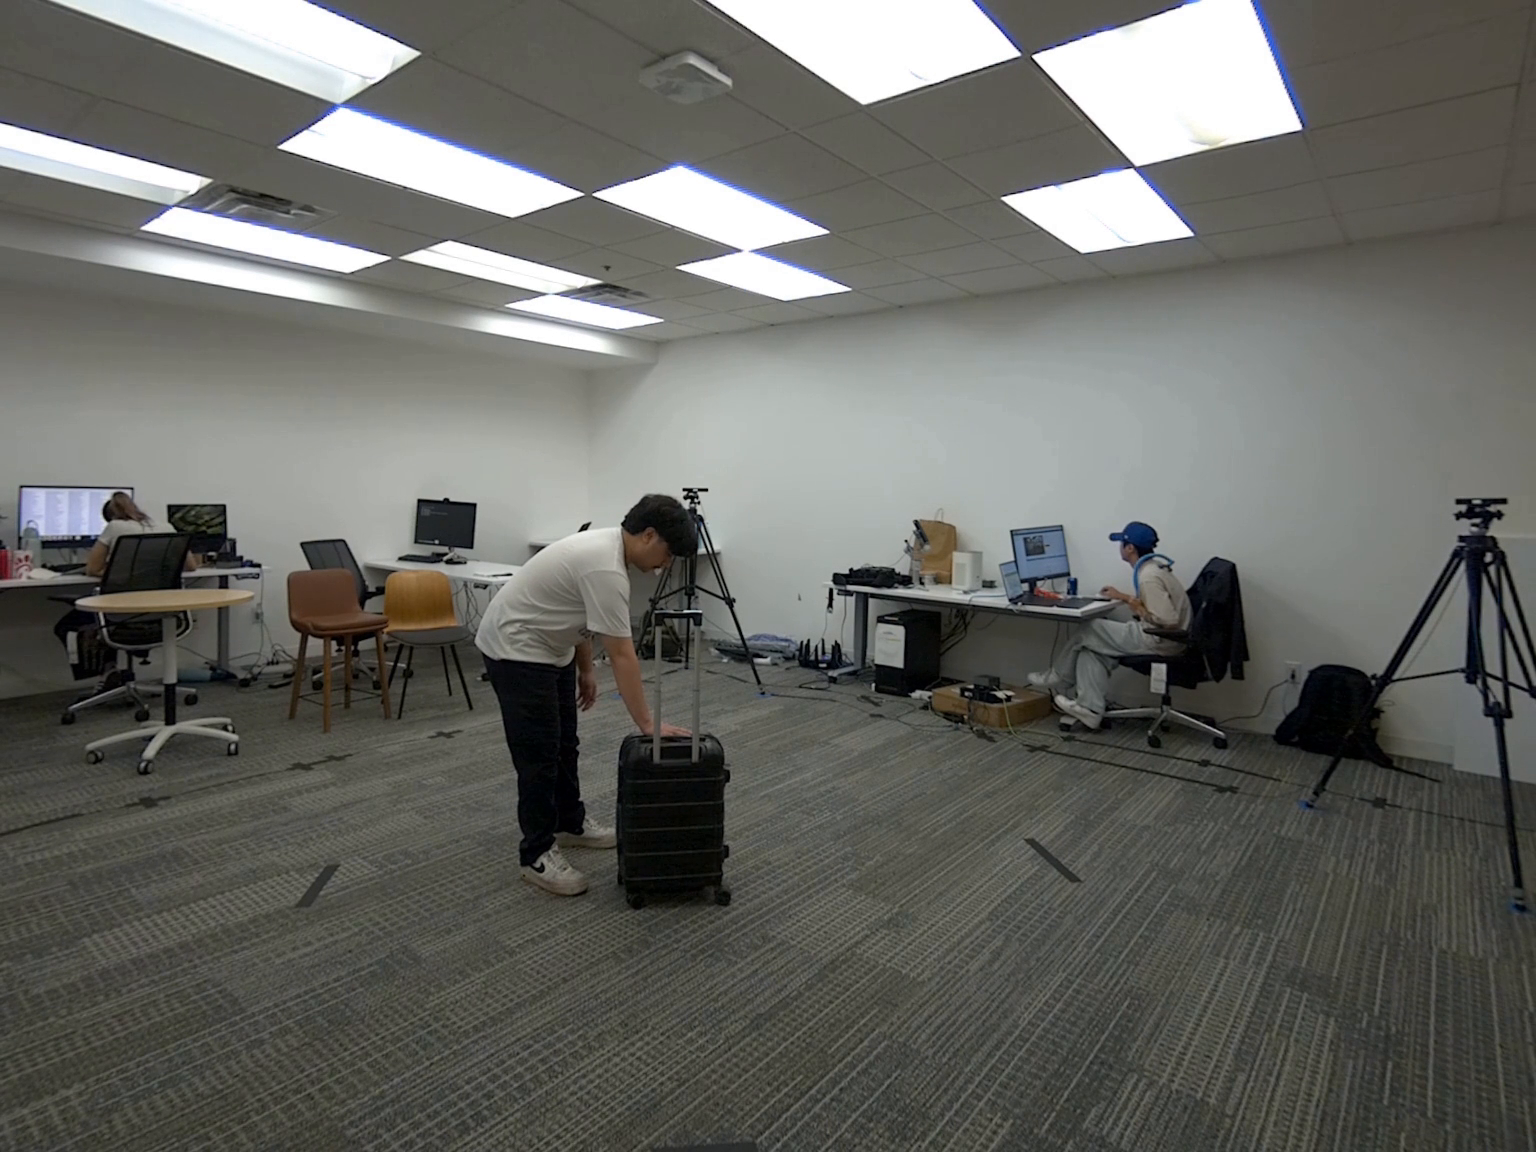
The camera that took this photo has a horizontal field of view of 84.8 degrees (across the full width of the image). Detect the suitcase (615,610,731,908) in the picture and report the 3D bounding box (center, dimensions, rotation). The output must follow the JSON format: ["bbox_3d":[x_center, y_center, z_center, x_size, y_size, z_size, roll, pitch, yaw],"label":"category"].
[{"bbox_3d":[-0.341,0.612,2.916,0.380,0.979,0.259,0,0,-10],"label":"suitcase"}]
